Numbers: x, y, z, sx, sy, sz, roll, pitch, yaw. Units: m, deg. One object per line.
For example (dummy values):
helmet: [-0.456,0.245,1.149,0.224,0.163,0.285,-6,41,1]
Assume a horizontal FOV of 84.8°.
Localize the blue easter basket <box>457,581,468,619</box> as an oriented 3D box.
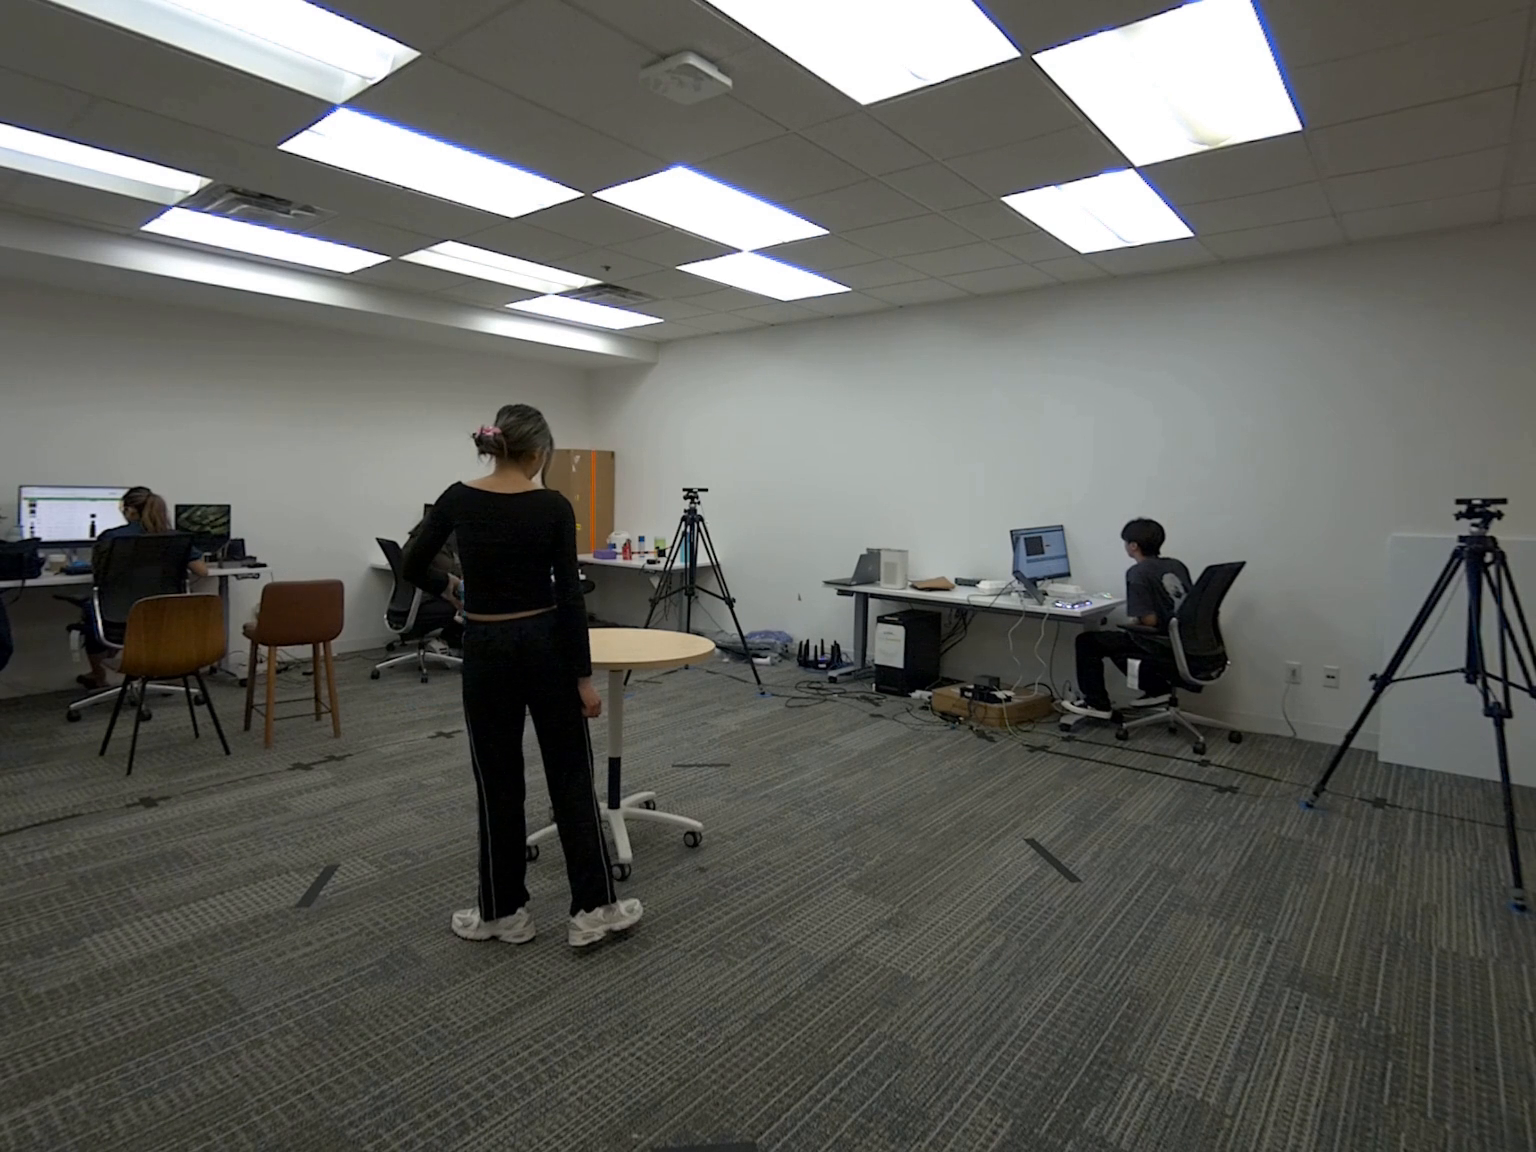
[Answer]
blue easter basket: [-0.999,0.107,2.993,0.243,0.154,0.246,0,12,-2]
